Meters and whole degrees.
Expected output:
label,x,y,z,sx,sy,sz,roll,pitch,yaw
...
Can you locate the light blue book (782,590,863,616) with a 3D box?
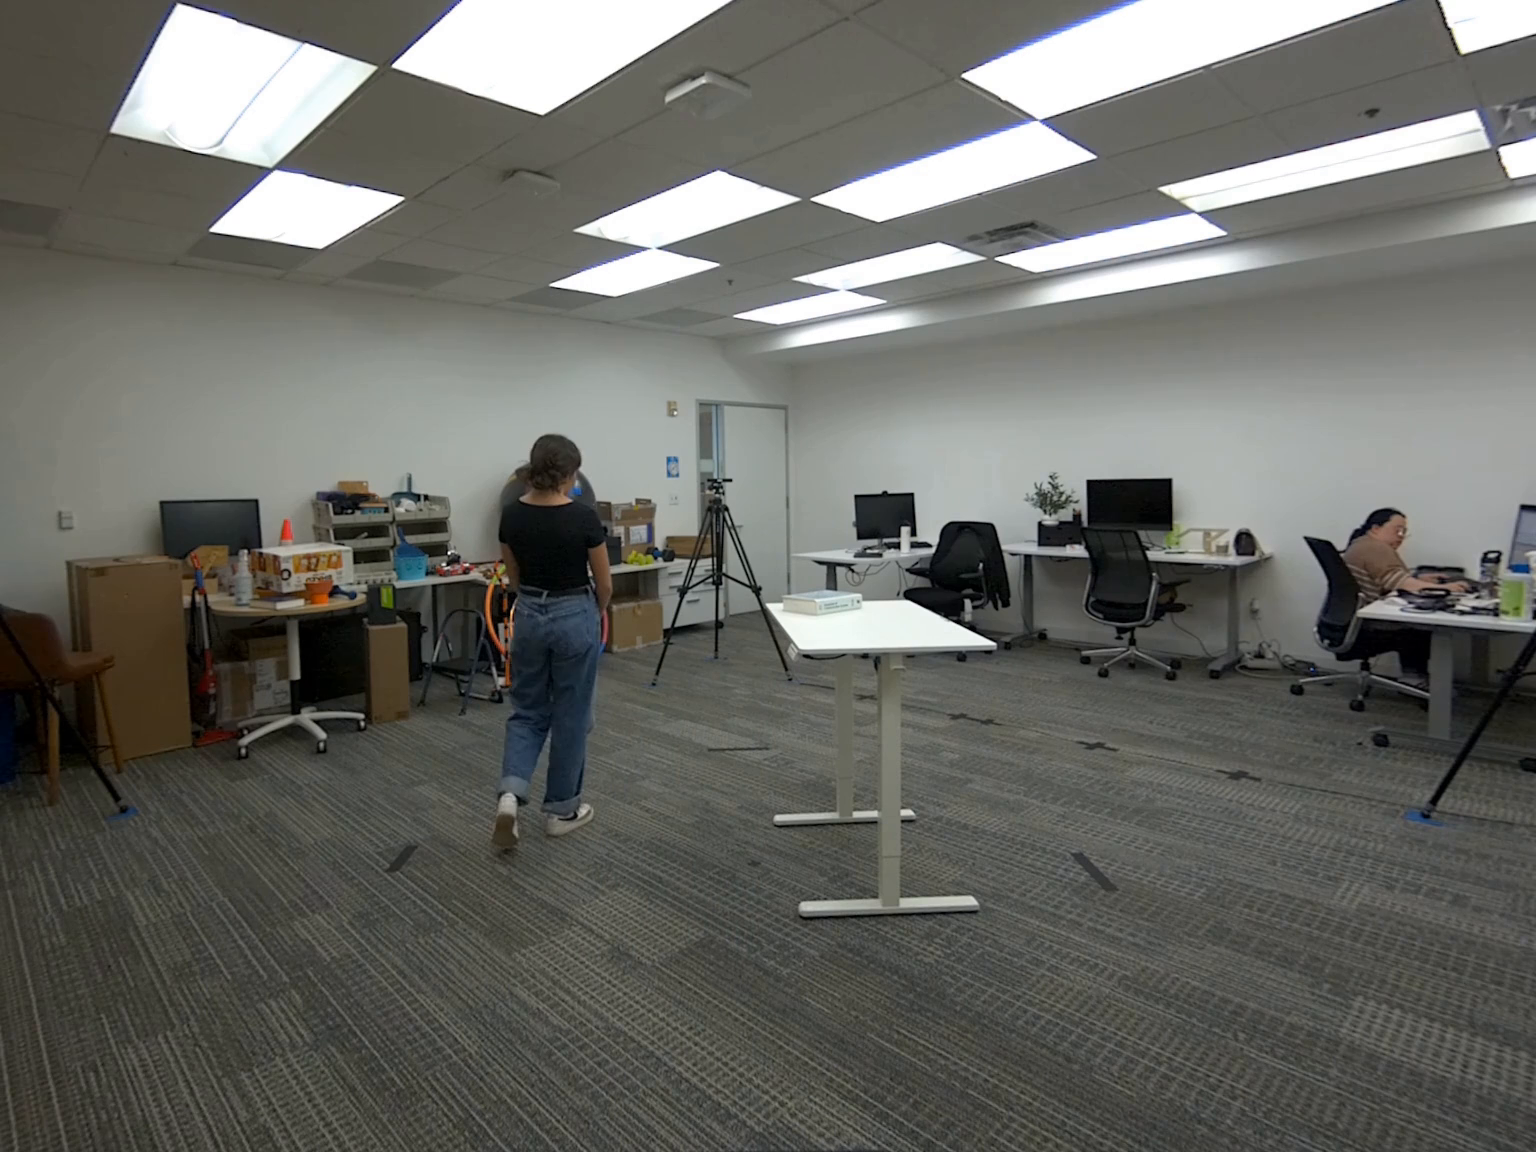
label,x,y,z,sx,sy,sz,roll,pitch,yaw
light blue book,0.207,0.102,3.347,0.254,0.059,0.197,-6,8,-42
